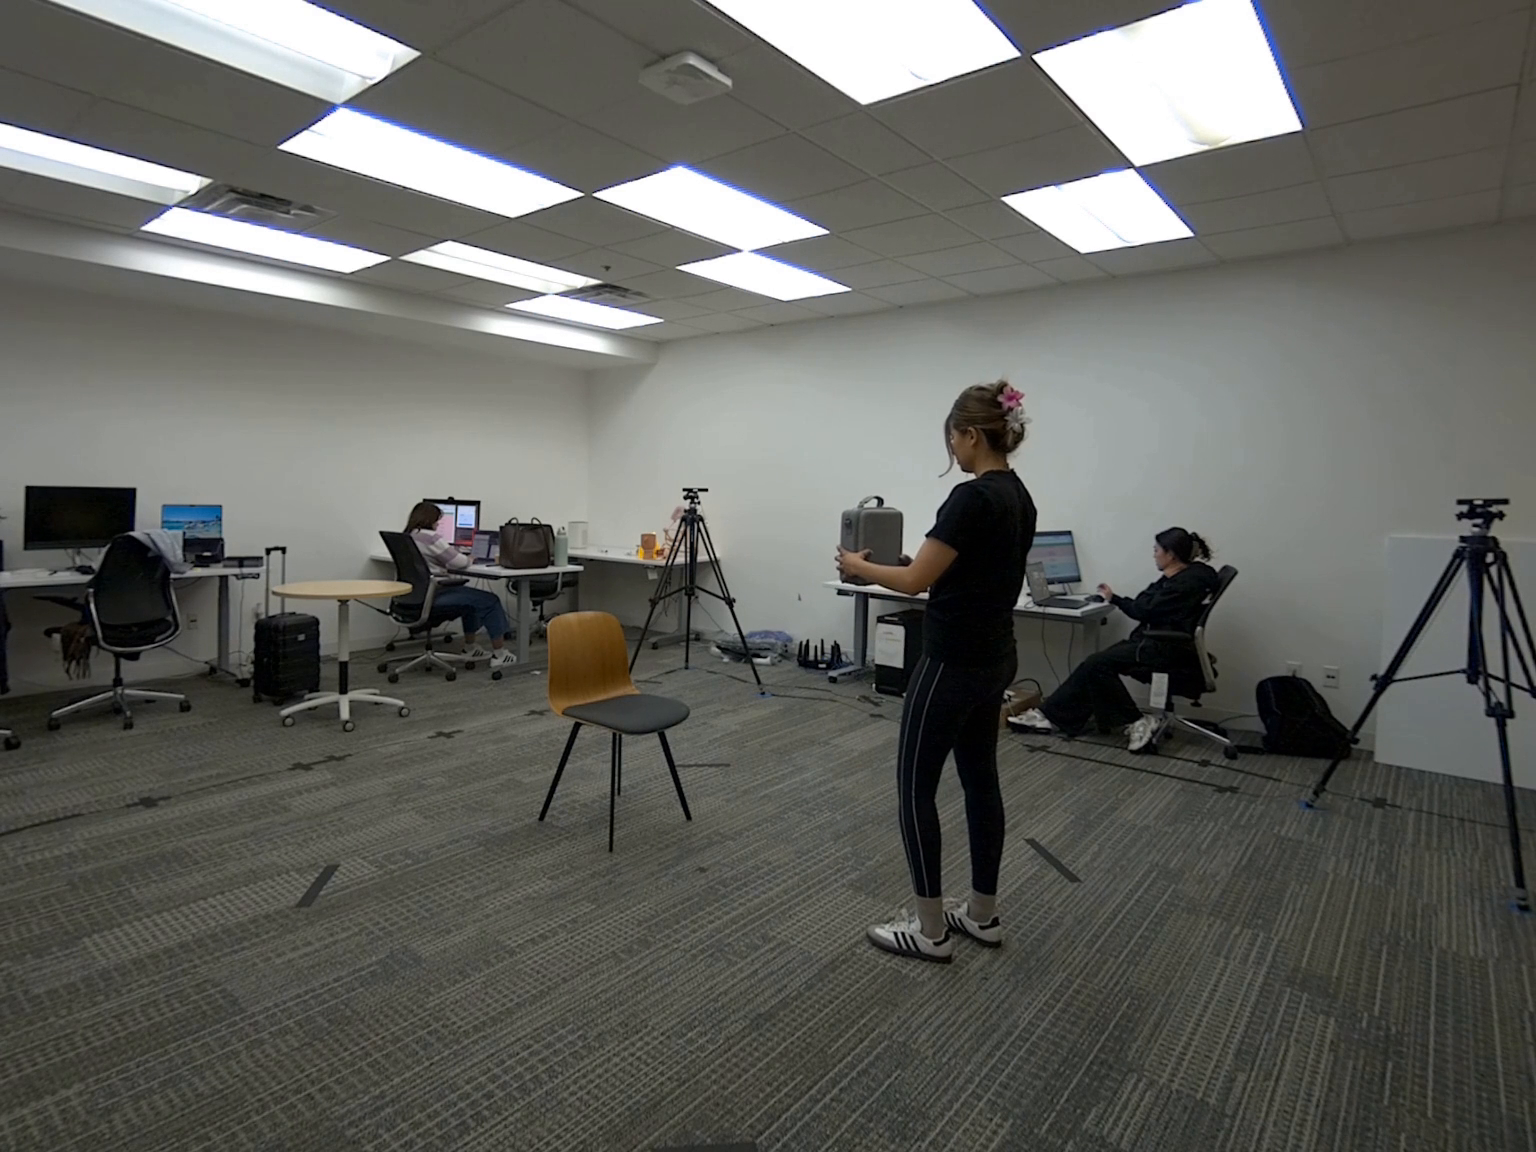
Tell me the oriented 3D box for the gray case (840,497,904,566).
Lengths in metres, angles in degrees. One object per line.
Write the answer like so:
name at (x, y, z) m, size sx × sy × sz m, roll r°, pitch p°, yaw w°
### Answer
gray case at (0.340, -0.107, 2.848) m, size 0.108 × 0.260 × 0.249 m, roll 3°, pitch 3°, yaw 41°
